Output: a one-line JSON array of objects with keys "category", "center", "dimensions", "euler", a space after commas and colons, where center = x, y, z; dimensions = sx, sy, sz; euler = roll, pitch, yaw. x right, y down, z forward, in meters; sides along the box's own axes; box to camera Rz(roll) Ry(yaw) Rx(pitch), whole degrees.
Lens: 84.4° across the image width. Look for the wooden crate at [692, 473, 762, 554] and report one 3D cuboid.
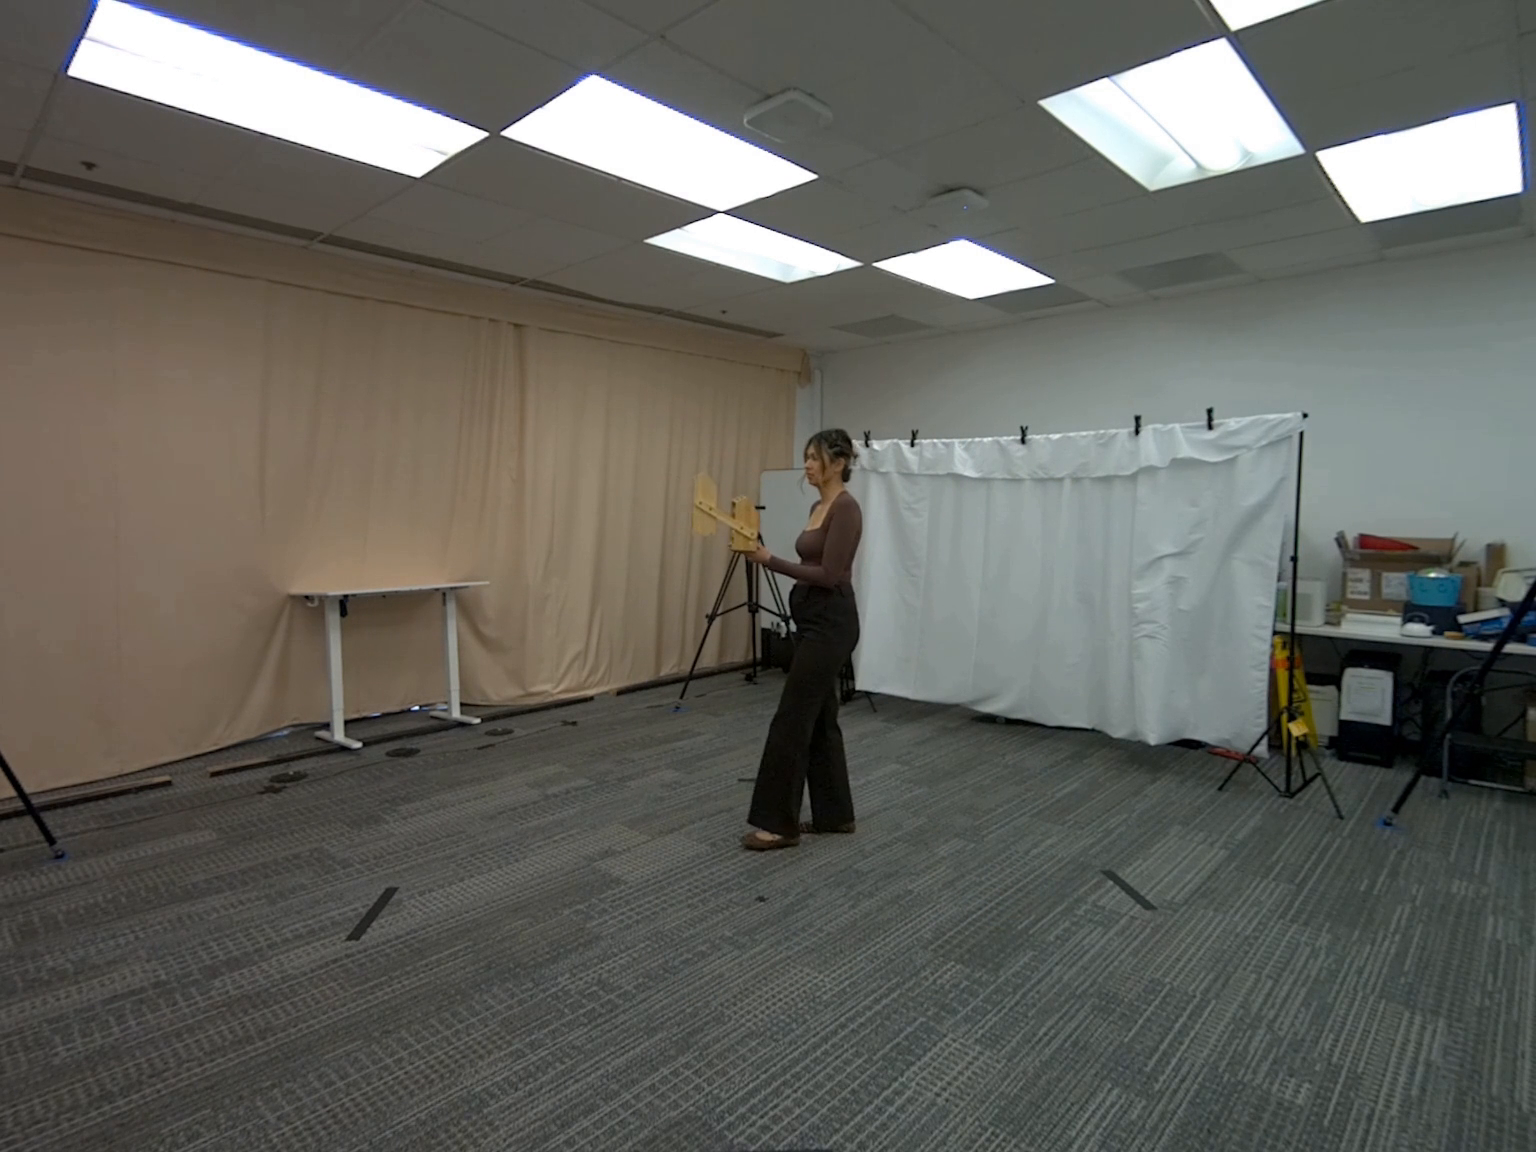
[{"category": "wooden crate", "center": [-0.173, -0.273, 3.481], "dimensions": [0.272, 0.301, 0.327], "euler": [2, 7, -5]}]
